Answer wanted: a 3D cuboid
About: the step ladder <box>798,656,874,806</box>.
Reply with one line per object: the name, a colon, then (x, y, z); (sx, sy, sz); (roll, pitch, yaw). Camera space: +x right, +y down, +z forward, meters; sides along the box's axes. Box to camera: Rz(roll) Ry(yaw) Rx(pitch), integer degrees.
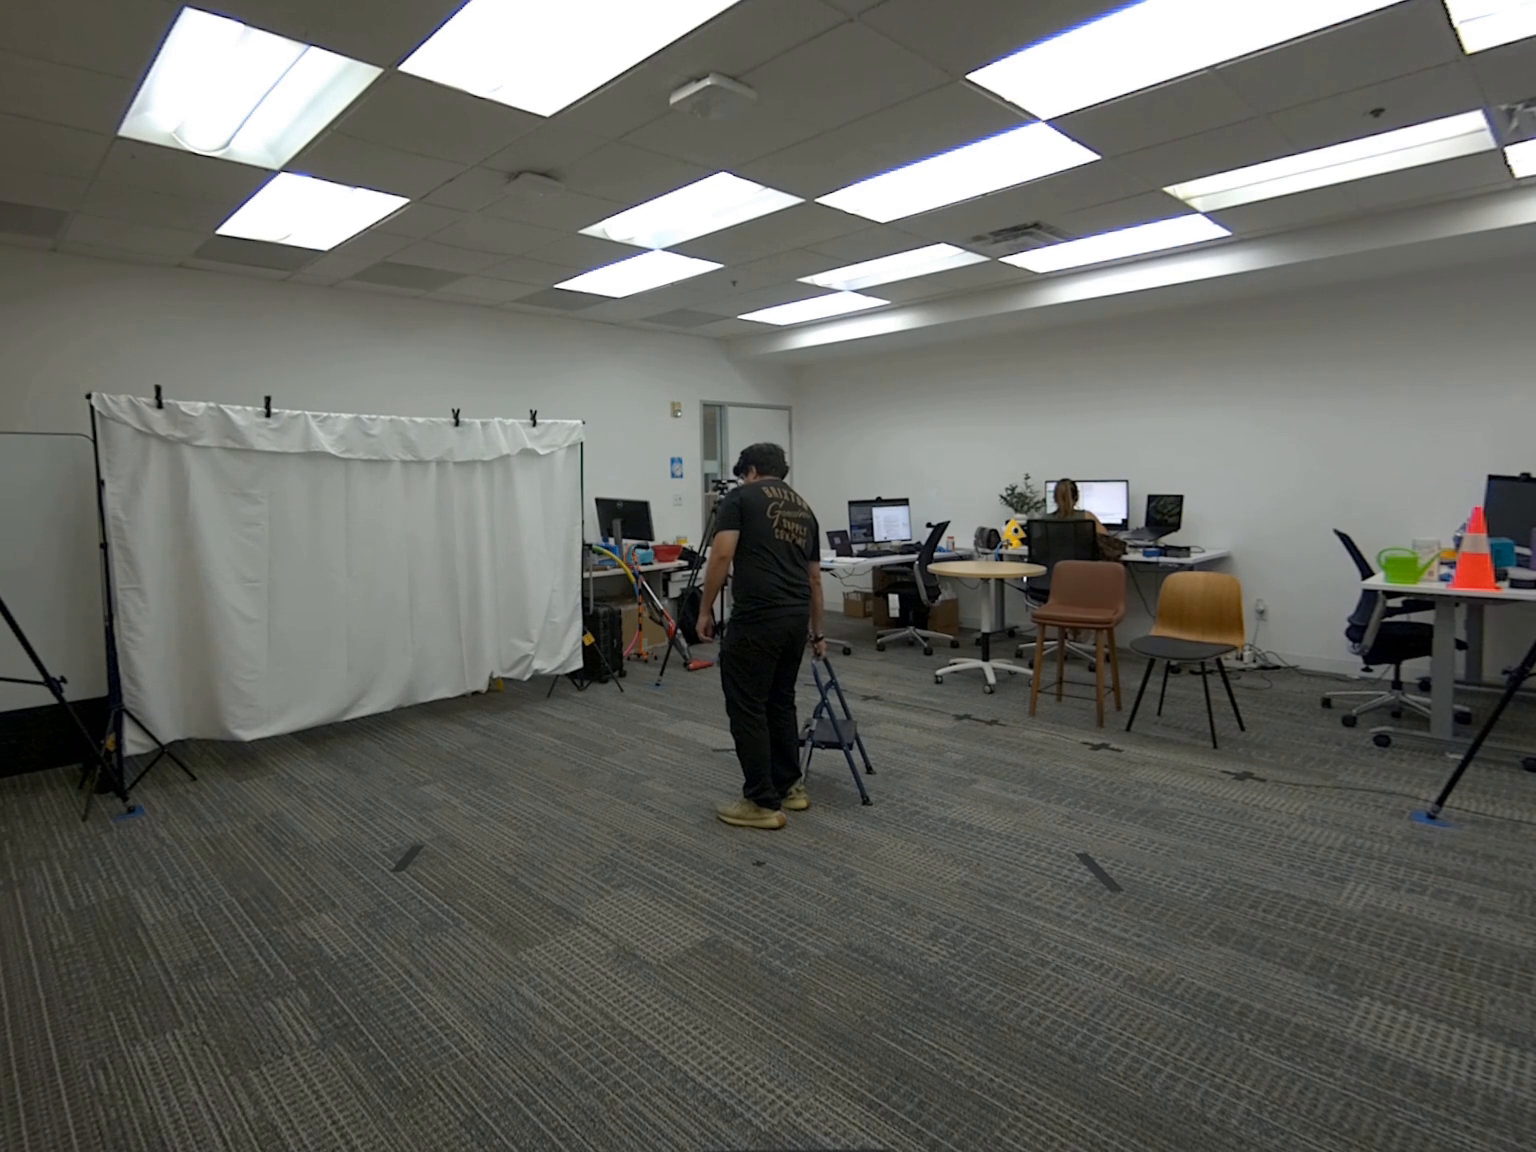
step ladder: (0.302, 0.653, 3.876); (0.353, 0.604, 0.427); (0, 4, 10)
